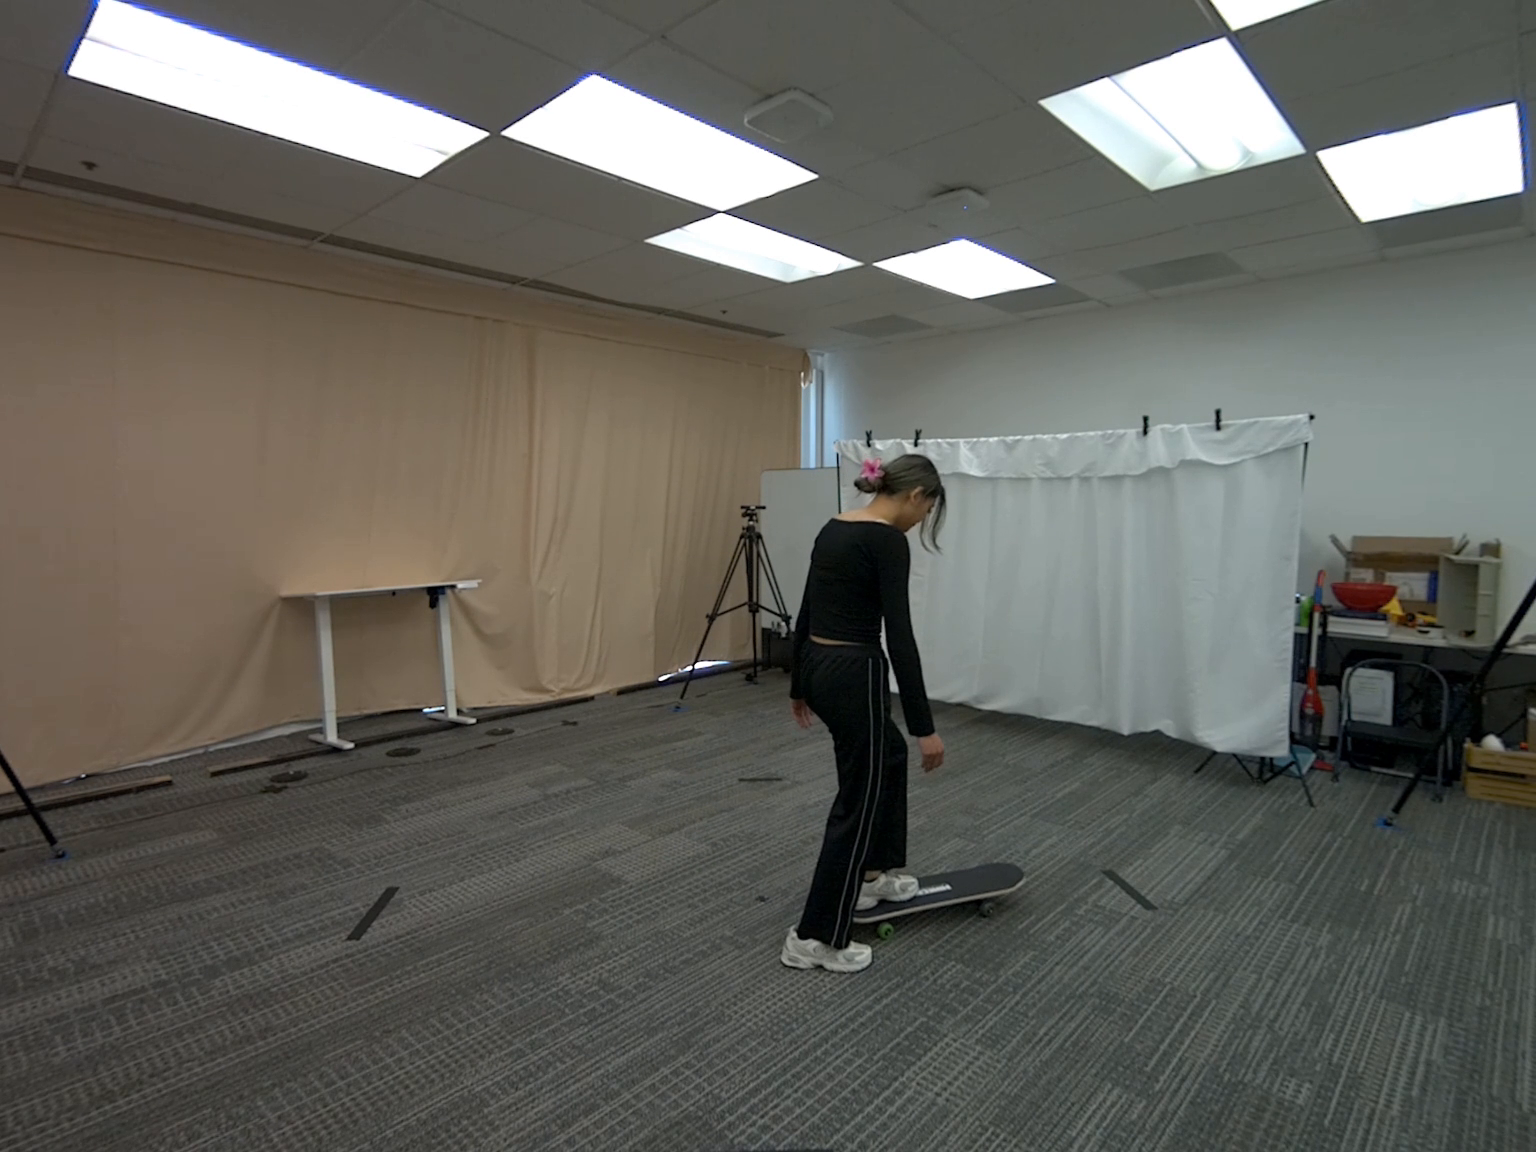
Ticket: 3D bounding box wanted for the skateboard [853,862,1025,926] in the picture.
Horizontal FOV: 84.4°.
[{"bbox_3d":[0.523,1.095,2.844,0.769,0.110,0.198,-2,4,-21],"label":"skateboard"}]
